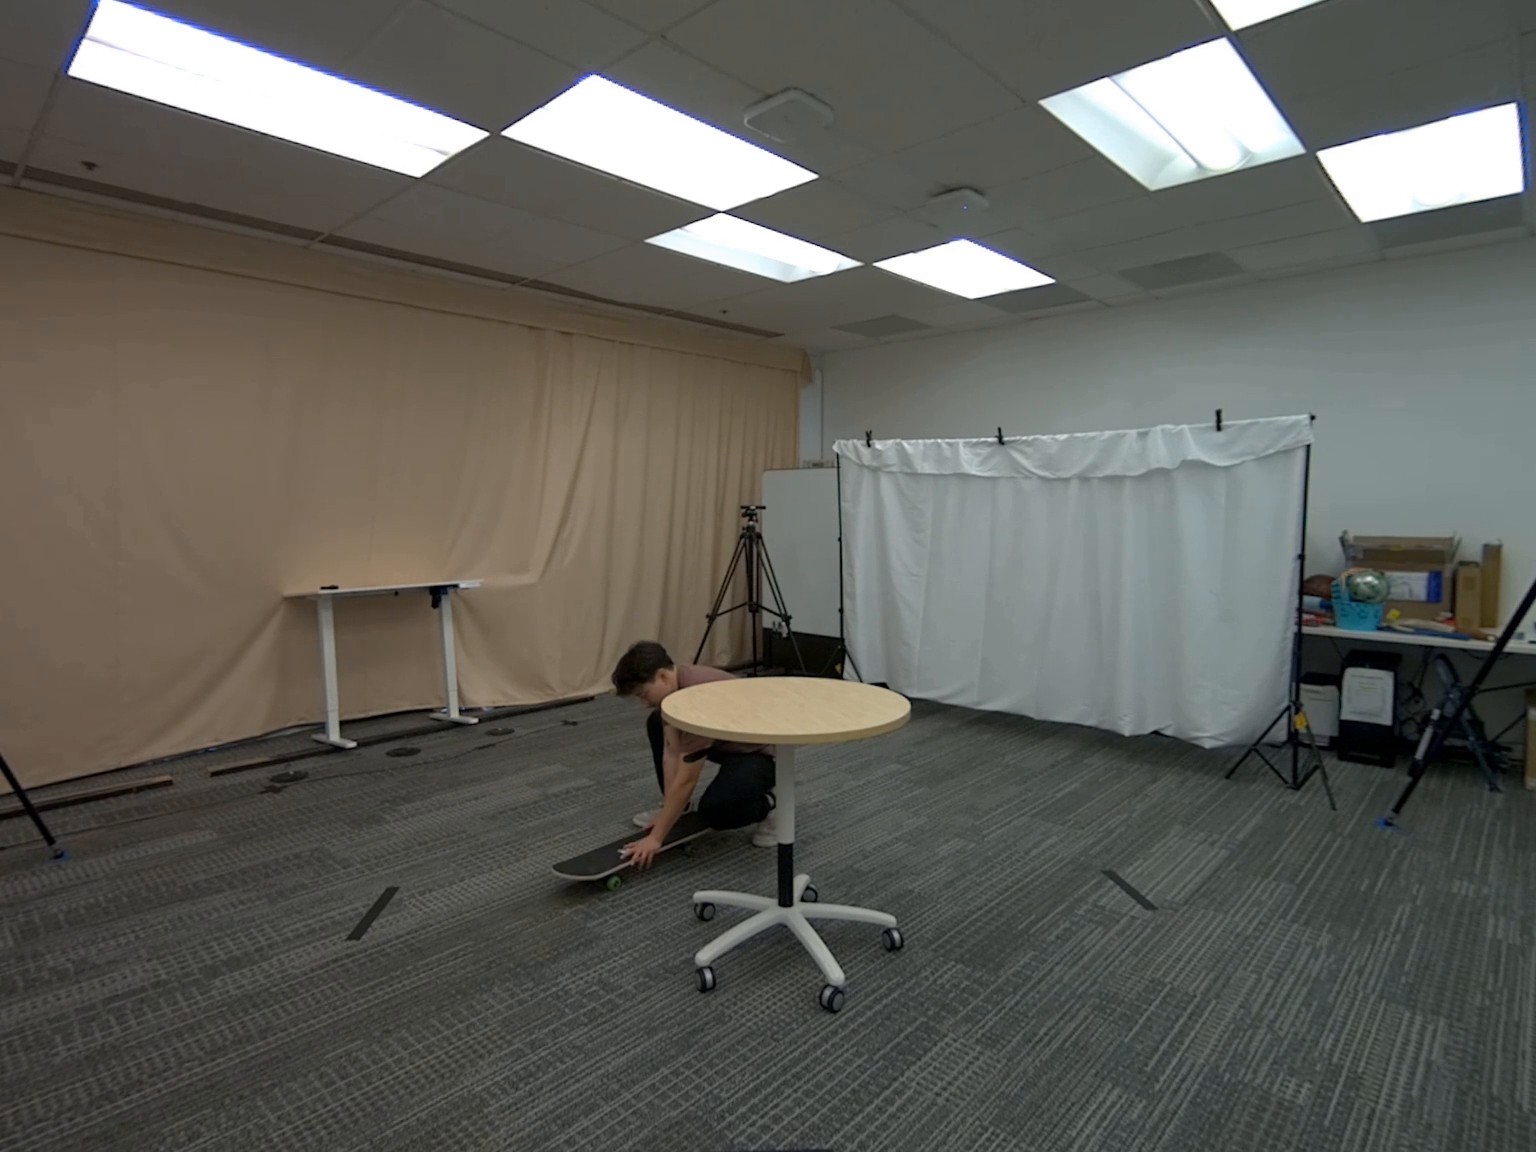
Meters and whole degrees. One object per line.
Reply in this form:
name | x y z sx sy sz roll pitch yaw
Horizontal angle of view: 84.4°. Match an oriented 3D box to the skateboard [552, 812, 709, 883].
skateboard | -0.499 1.066 3.254 0.200 0.110 0.762 0 4 41
